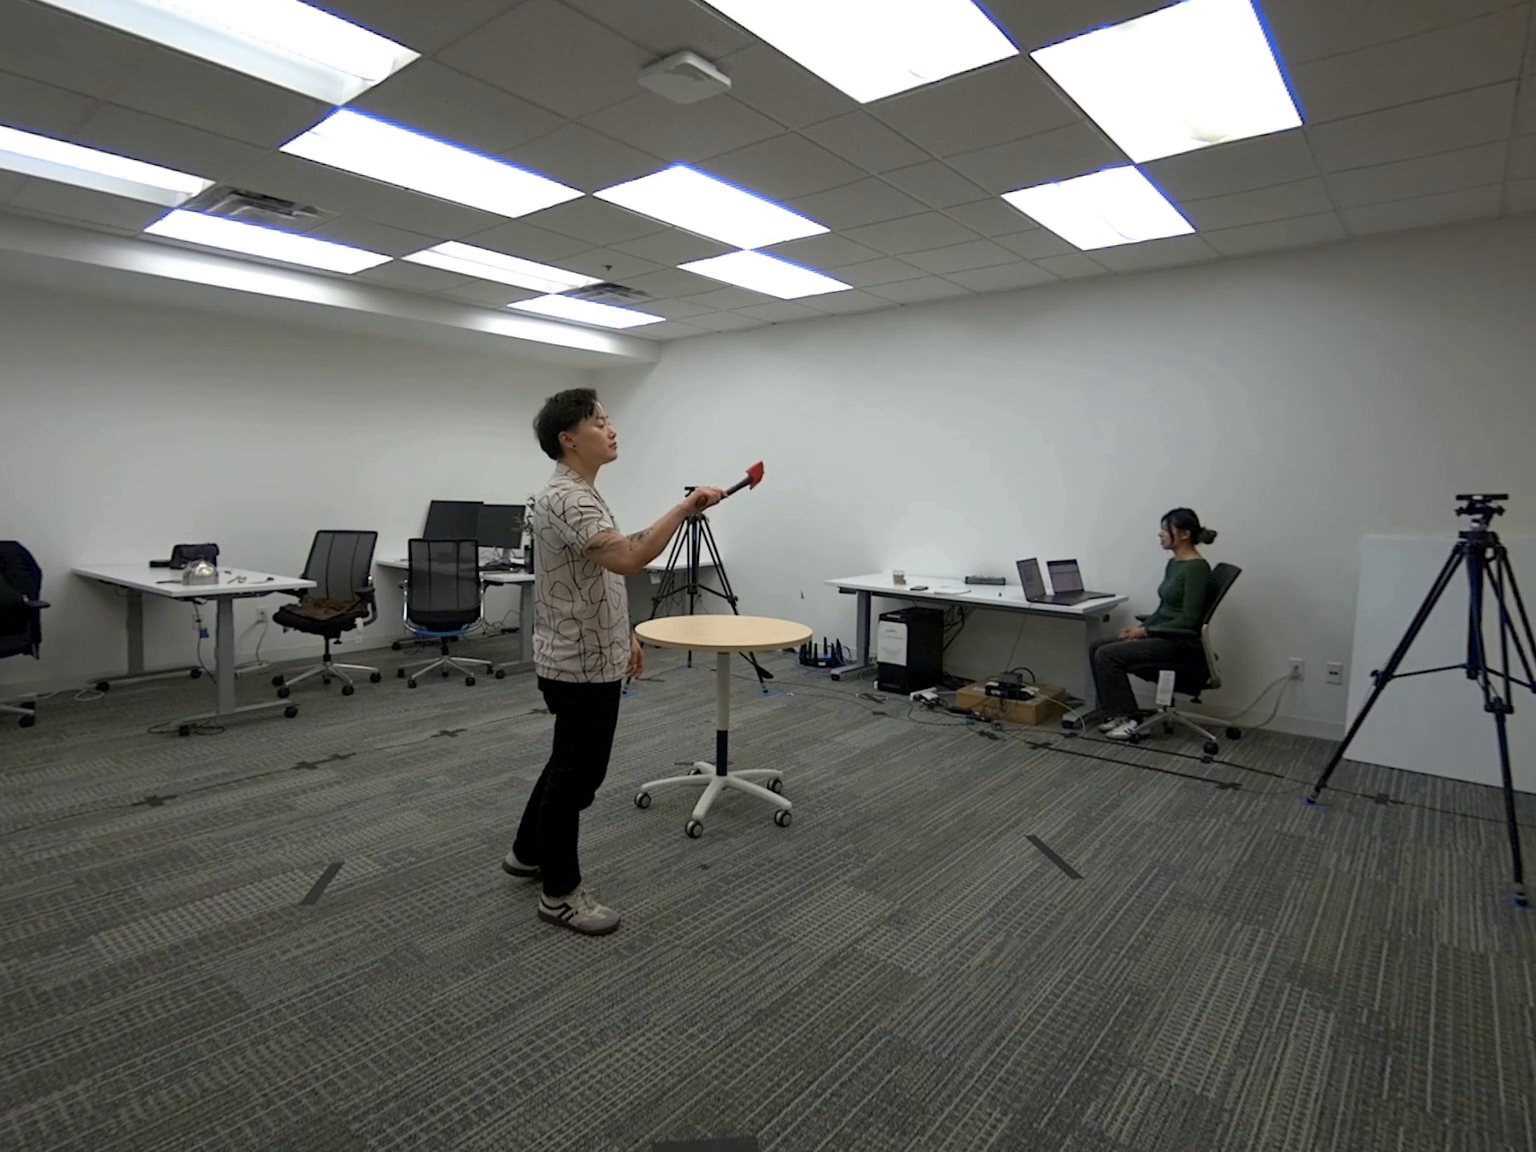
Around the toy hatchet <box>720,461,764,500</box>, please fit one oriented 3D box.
[{"bbox_3d":[-0.109,-0.274,2.496,0.265,0.030,0.130,-27,-22,-47],"label":"toy hatchet"}]
